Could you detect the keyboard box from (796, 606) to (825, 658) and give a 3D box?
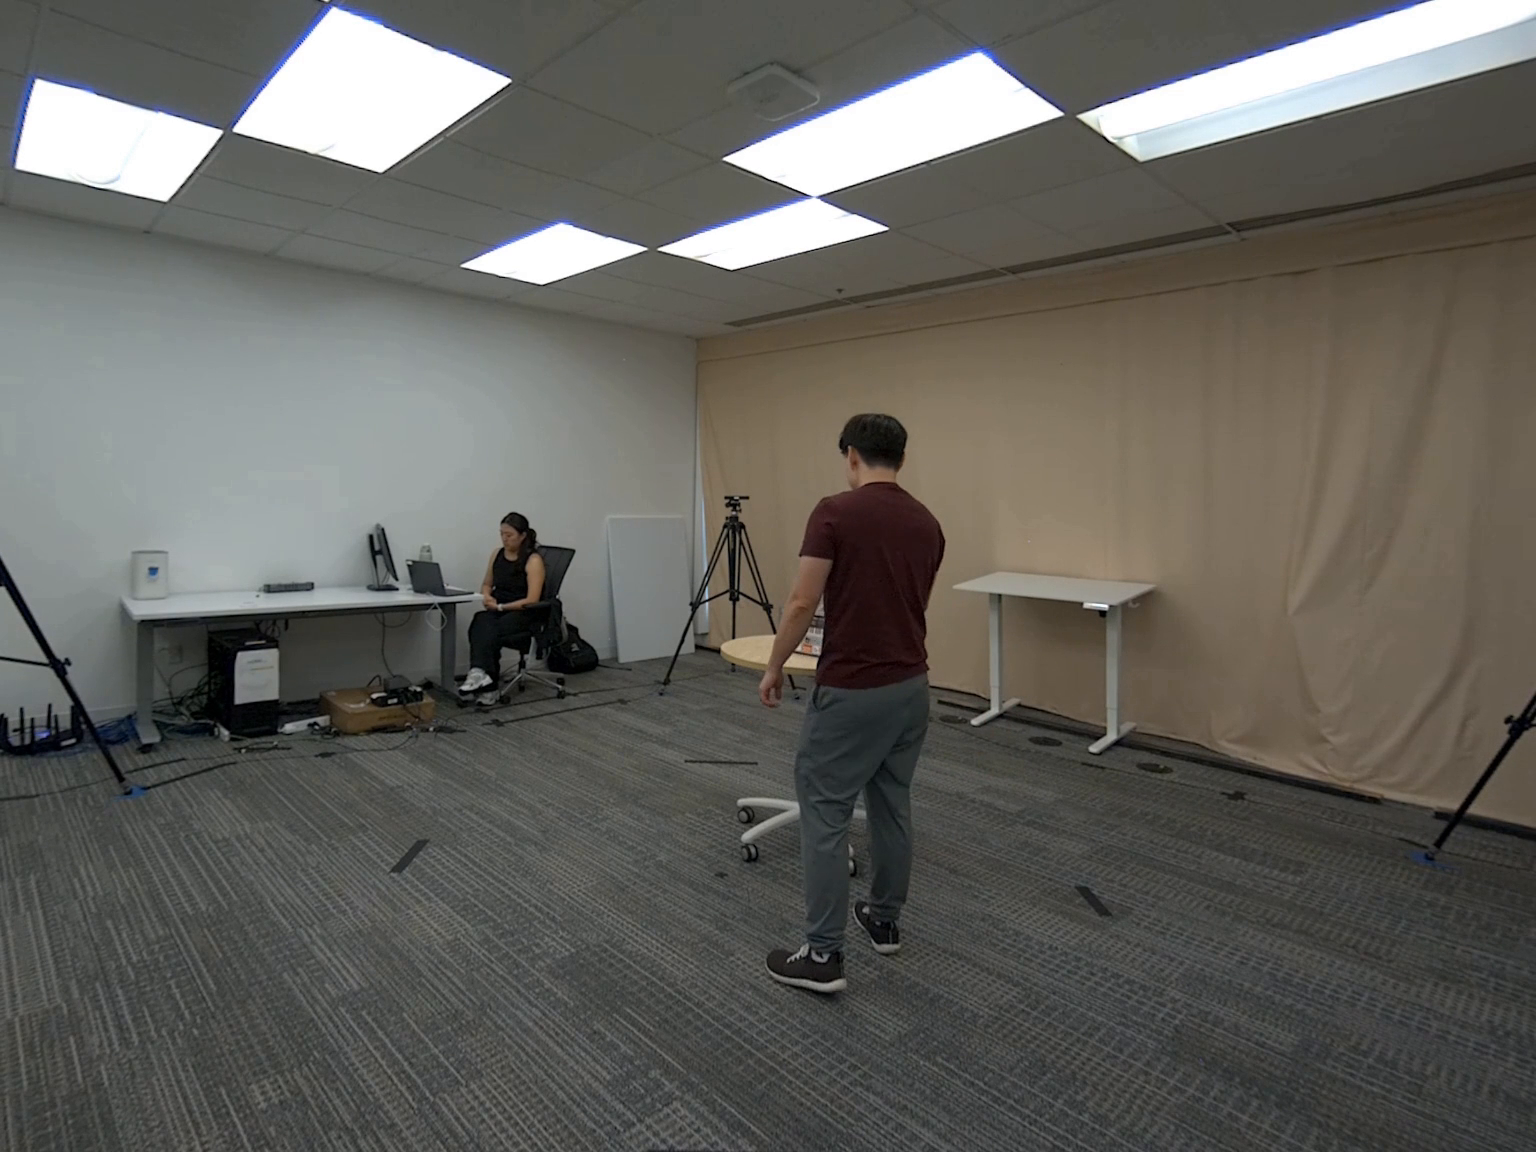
[{"bbox_3d":[0.226,0.233,3.274,0.448,0.176,0.057,7,-1,41],"label":"keyboard box"}]
